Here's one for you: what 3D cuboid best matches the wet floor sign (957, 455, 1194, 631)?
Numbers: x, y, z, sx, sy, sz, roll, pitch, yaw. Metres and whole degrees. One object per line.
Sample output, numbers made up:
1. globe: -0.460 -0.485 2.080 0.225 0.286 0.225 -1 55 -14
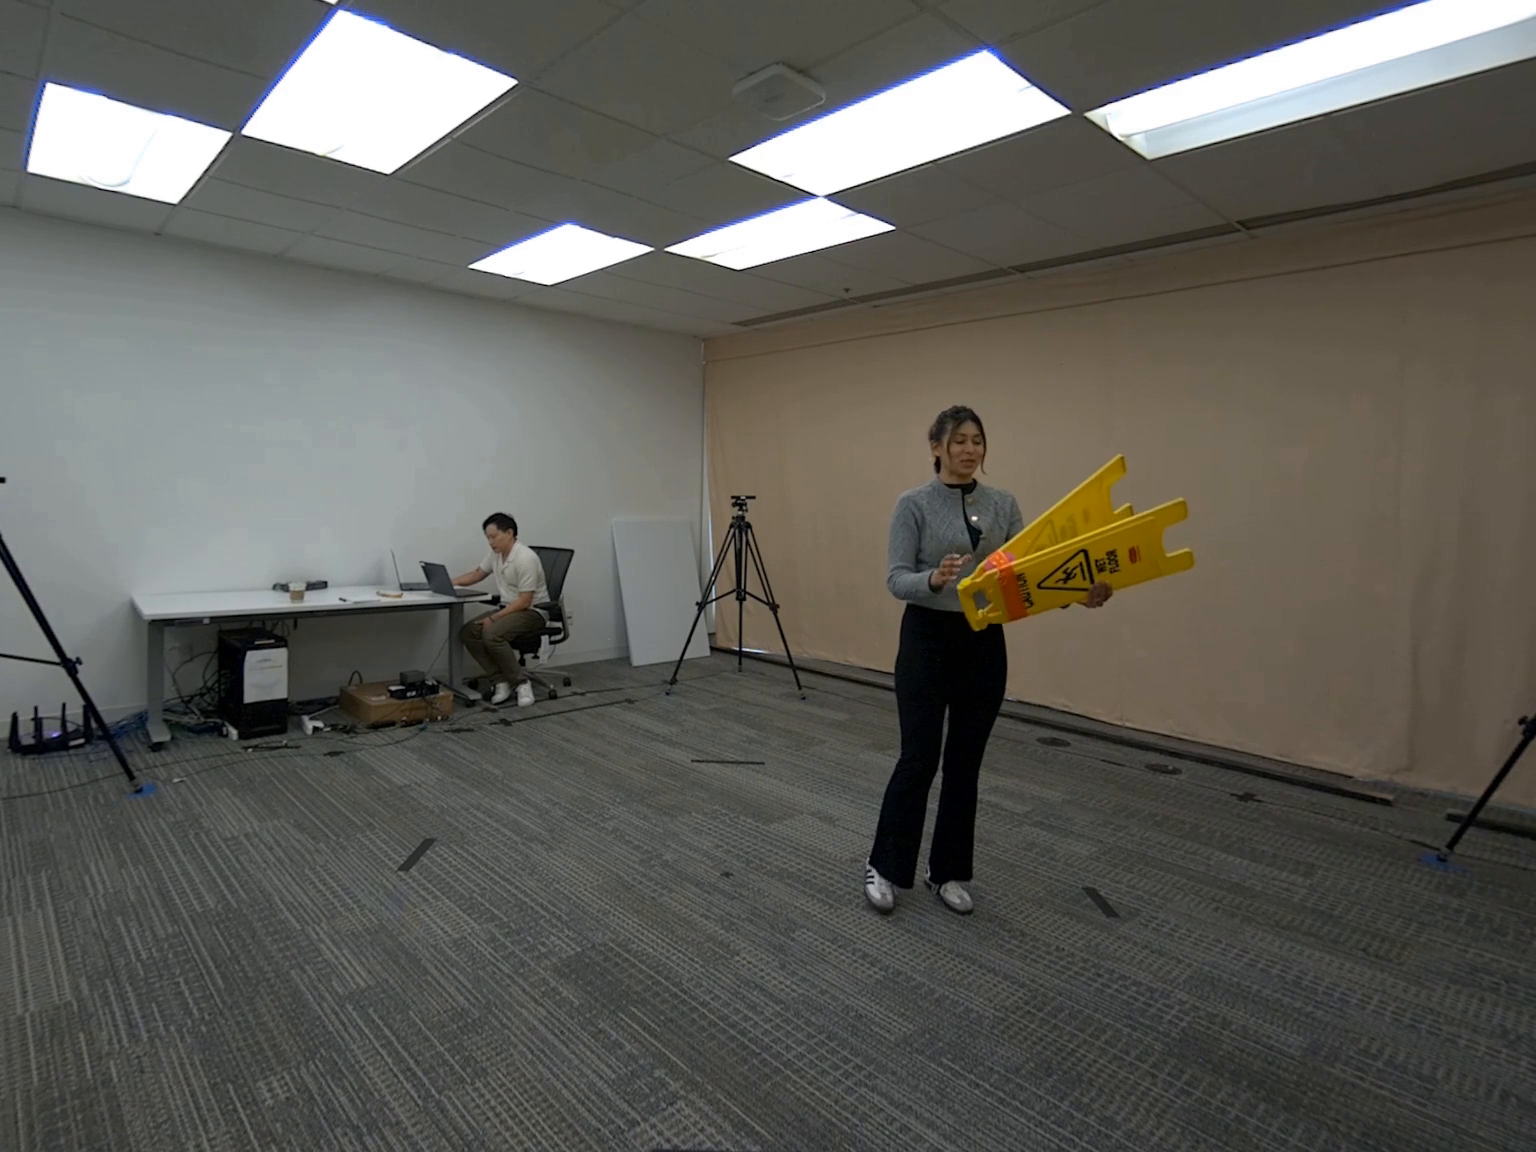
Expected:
1. wet floor sign: 0.862 -0.052 2.530 0.647 0.274 0.298 -27 37 3
